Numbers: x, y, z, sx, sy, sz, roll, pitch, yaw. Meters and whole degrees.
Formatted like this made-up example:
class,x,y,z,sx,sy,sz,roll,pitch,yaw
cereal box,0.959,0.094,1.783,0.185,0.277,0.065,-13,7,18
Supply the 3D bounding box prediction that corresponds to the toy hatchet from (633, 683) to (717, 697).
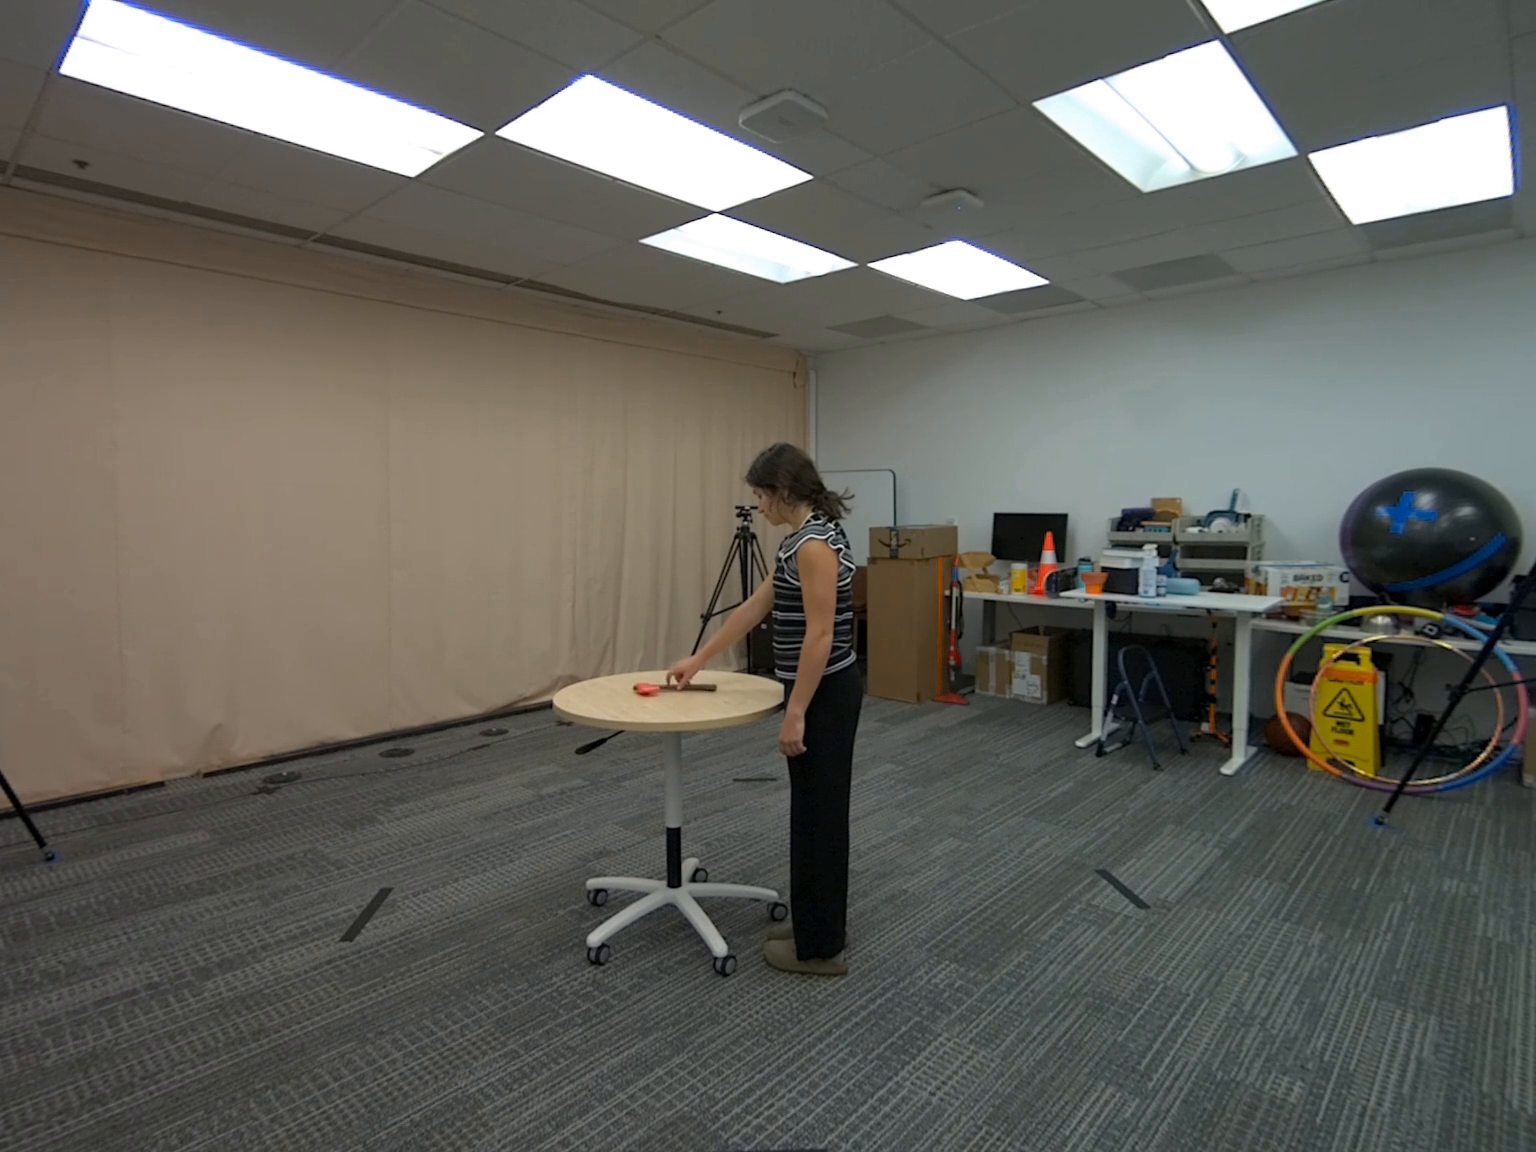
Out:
class,x,y,z,sx,sy,sz,roll,pitch,yaw
toy hatchet,-0.300,0.366,2.737,0.272,0.030,0.129,-1,-5,7
